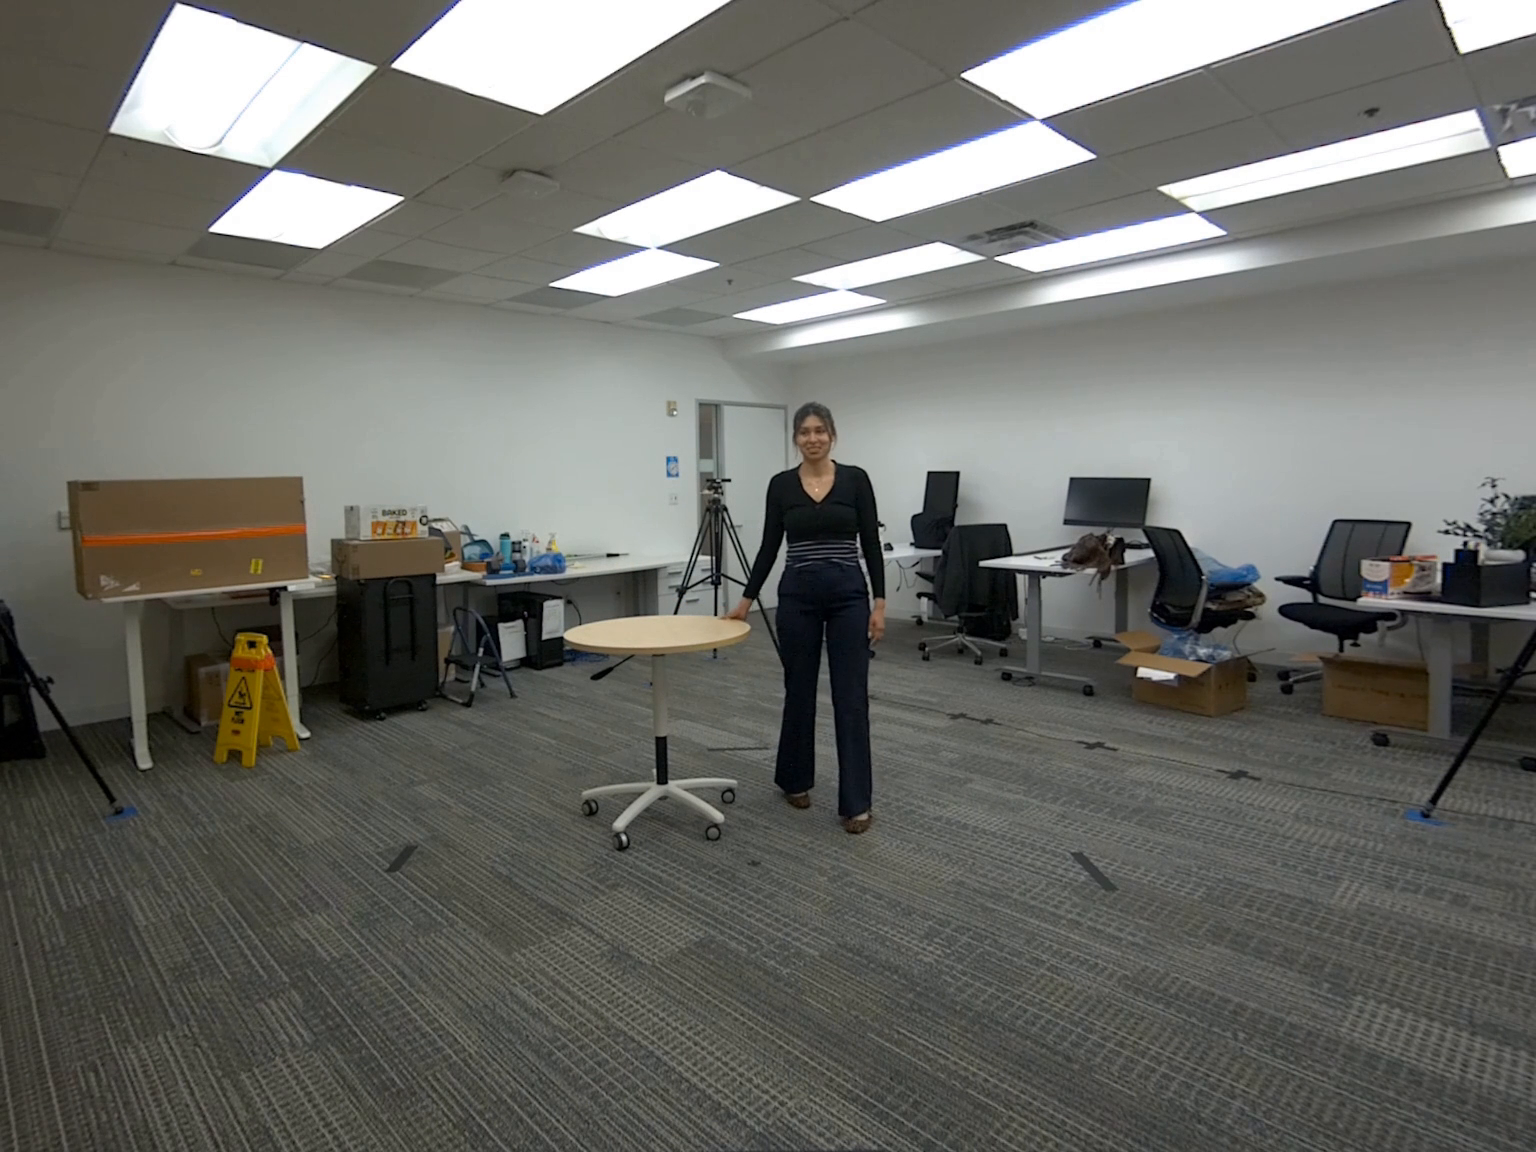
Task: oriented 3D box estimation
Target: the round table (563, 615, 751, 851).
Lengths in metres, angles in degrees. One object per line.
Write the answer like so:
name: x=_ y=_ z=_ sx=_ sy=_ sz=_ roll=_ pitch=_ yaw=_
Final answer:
round table: x=-0.450 y=0.617 z=3.530 sx=0.763 sy=0.791 sz=0.767 roll=-1 pitch=4 yaw=-2
